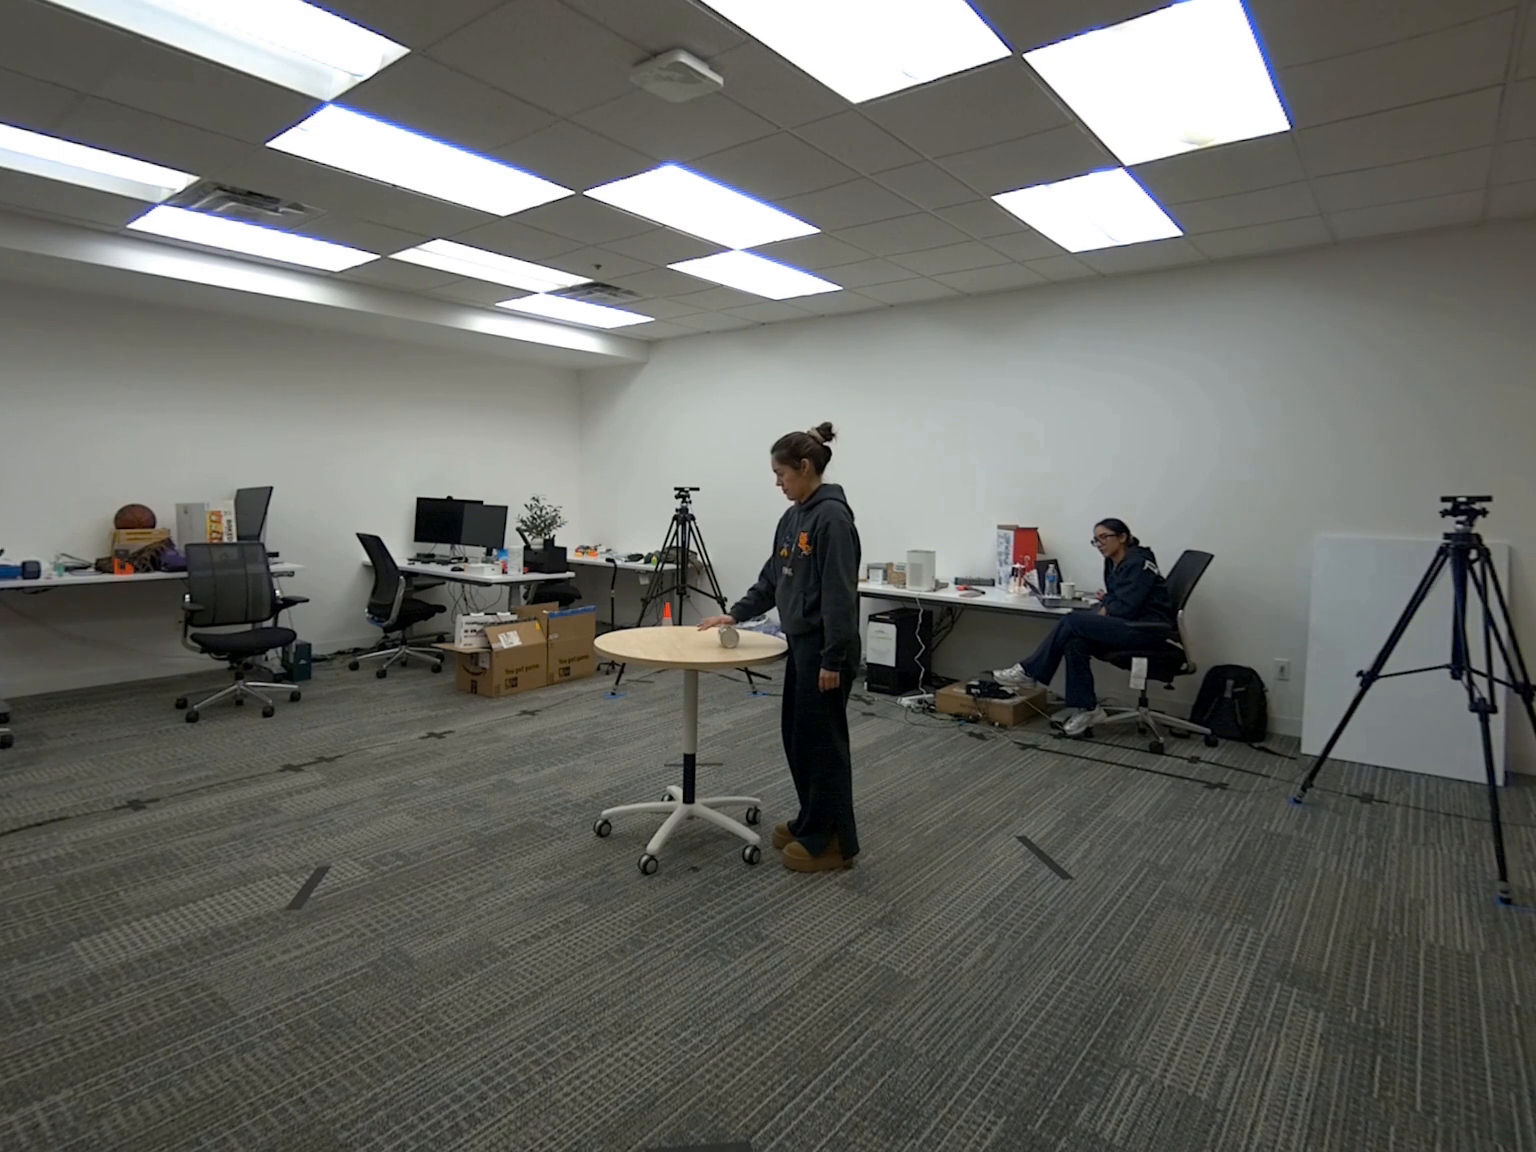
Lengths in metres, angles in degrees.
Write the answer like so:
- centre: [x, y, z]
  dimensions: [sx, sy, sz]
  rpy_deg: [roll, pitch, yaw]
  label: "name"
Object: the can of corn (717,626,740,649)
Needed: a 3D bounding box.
- centre: [-0.151, 0.229, 3.301]
  dimensions: [0.074, 0.074, 0.112]
  rpy_deg: [0, 6, -2]
  label: "can of corn"
